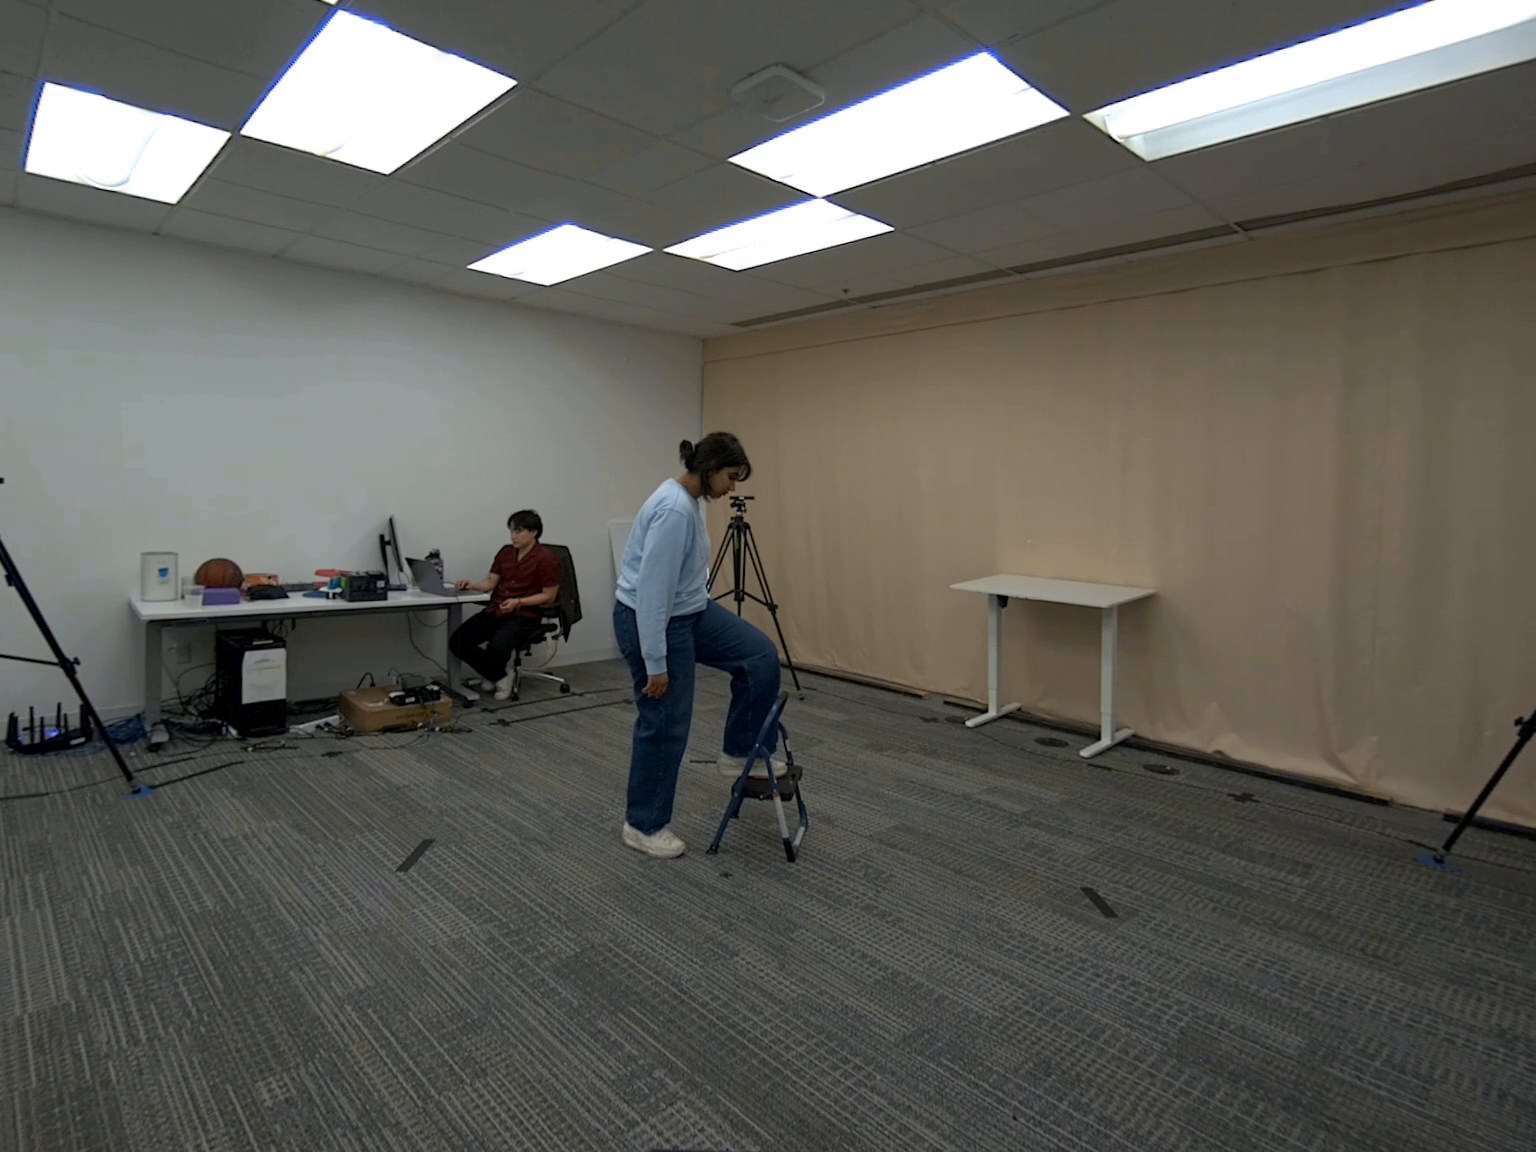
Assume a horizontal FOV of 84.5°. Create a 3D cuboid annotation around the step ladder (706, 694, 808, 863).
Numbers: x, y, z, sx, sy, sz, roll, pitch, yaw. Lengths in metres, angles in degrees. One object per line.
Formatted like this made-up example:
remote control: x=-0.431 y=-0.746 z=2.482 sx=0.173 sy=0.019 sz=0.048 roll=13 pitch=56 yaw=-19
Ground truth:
step ladder: x=-0.030 y=0.779 z=3.440 sx=0.353 sy=0.604 sz=0.427 roll=2 pitch=4 yaw=11
